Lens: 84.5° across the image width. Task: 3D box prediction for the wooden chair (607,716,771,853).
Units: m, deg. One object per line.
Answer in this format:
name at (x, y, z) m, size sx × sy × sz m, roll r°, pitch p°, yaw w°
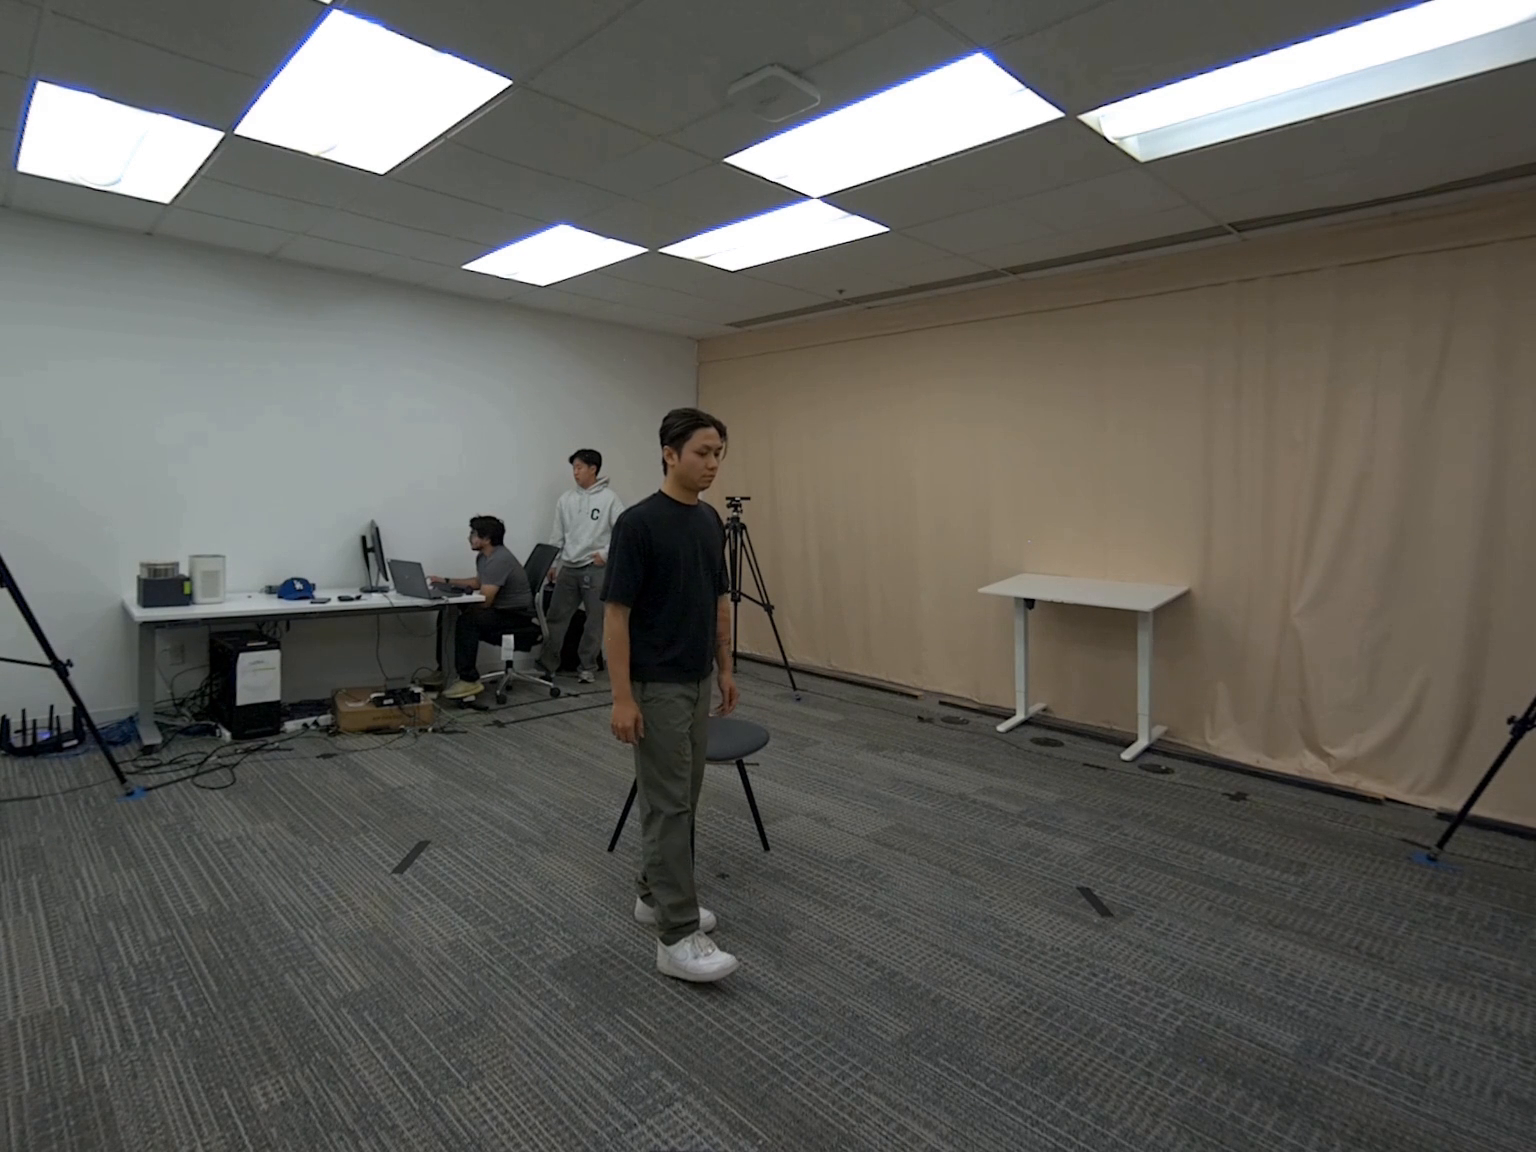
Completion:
wooden chair at (-0.295, 0.660, 3.279) m, size 0.535 × 0.877 × 0.467 m, roll -1°, pitch 1°, yaw 40°
